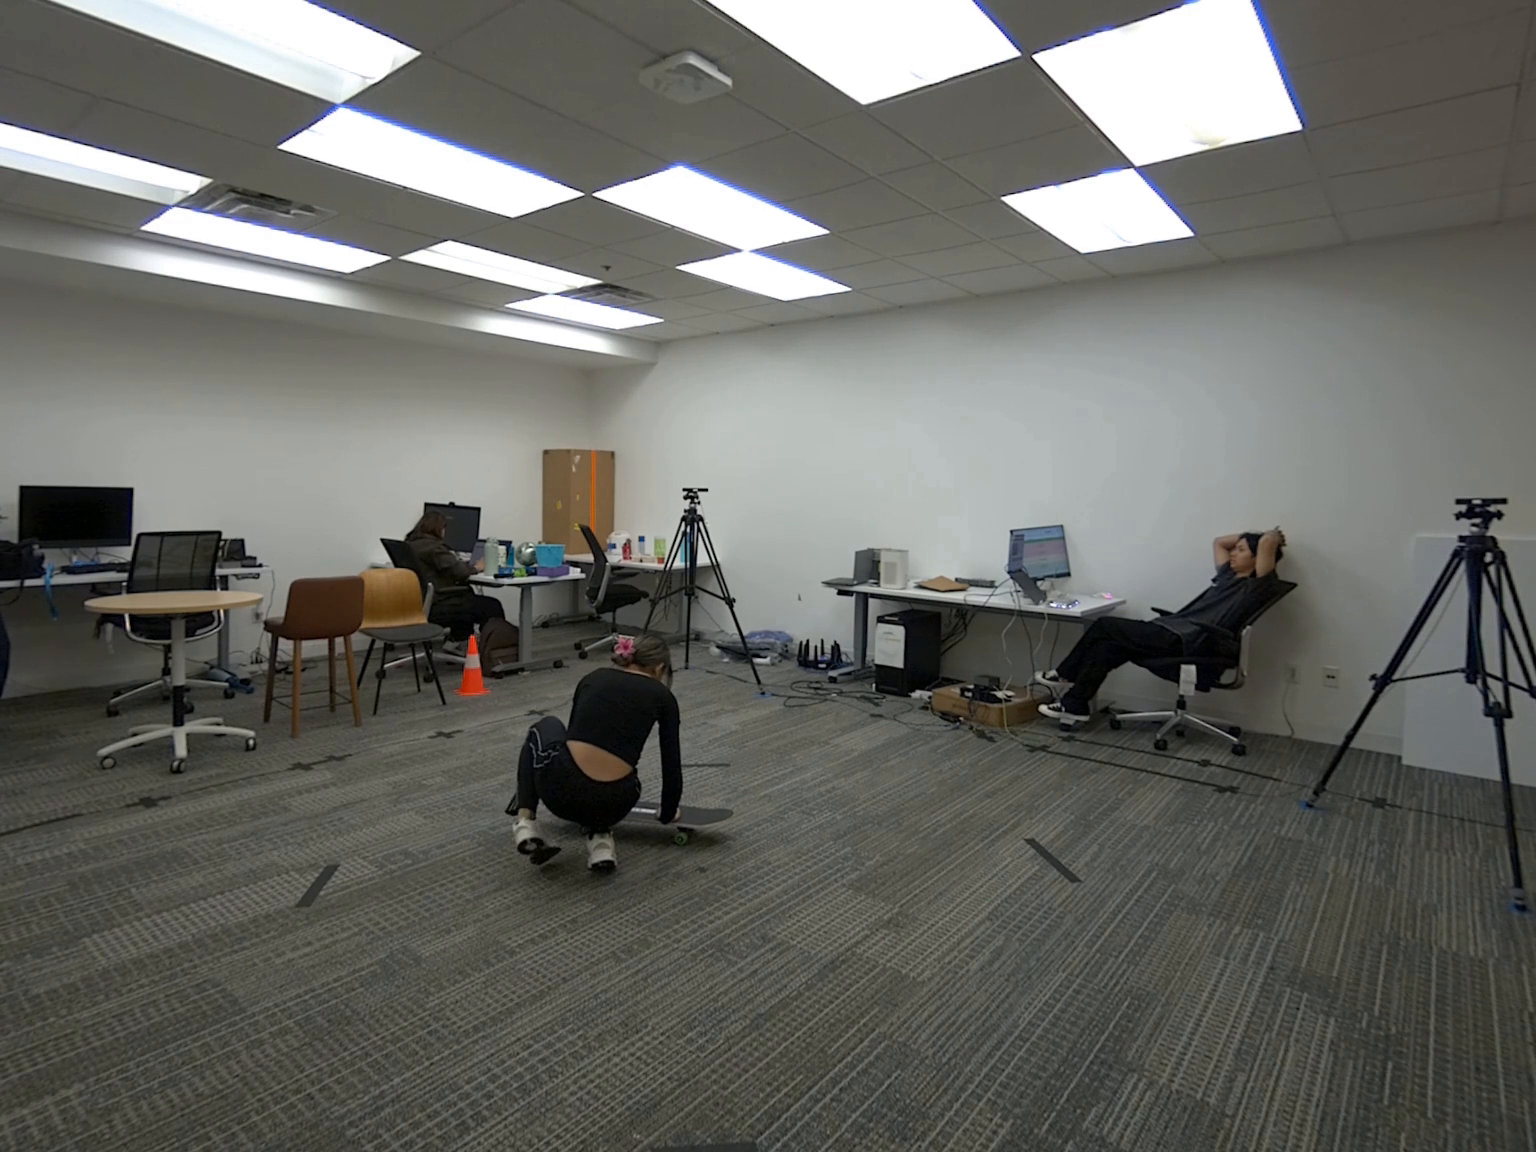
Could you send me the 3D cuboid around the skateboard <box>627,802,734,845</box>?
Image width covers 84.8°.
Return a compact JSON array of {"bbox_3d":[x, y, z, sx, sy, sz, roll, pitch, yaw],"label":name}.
[{"bbox_3d":[-0.530,0.976,3.435,0.796,0.110,0.191,2,5,12],"label":"skateboard"}]
